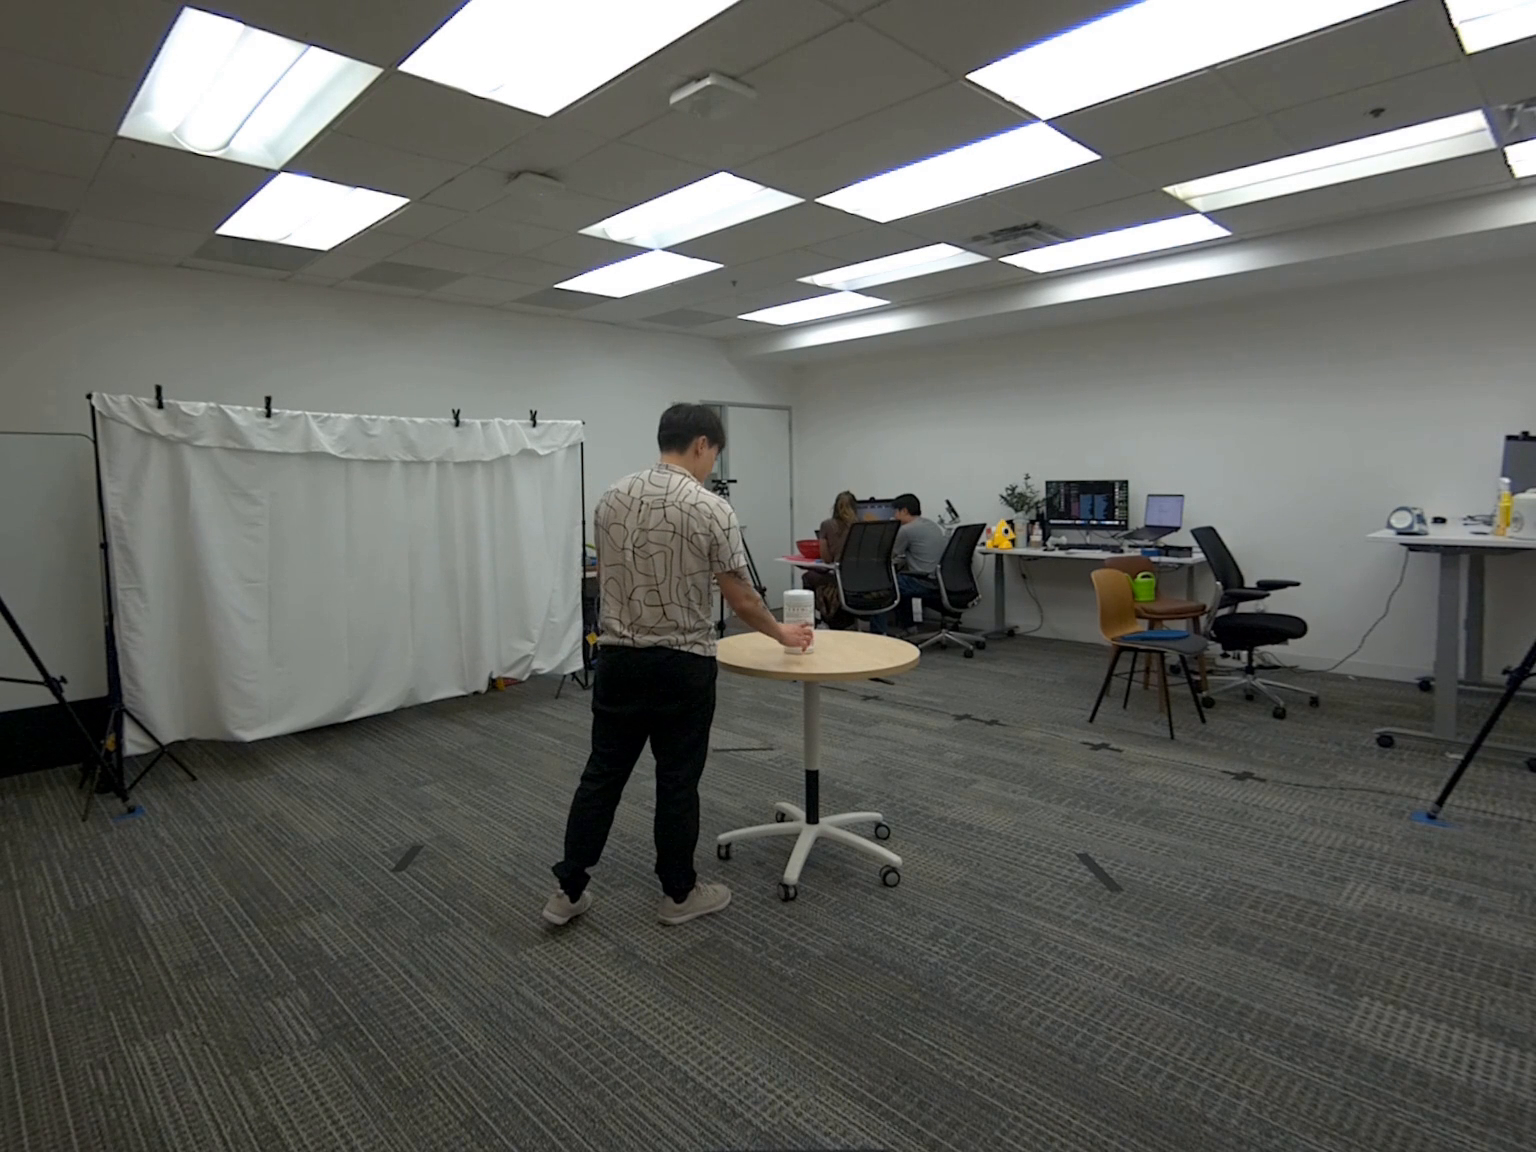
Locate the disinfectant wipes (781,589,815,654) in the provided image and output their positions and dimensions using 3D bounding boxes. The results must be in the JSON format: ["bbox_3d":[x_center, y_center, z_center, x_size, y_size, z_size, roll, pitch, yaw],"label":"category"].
[{"bbox_3d":[0.117,0.165,3.032,0.118,0.216,0.118,-2,5,-2],"label":"disinfectant wipes"}]
